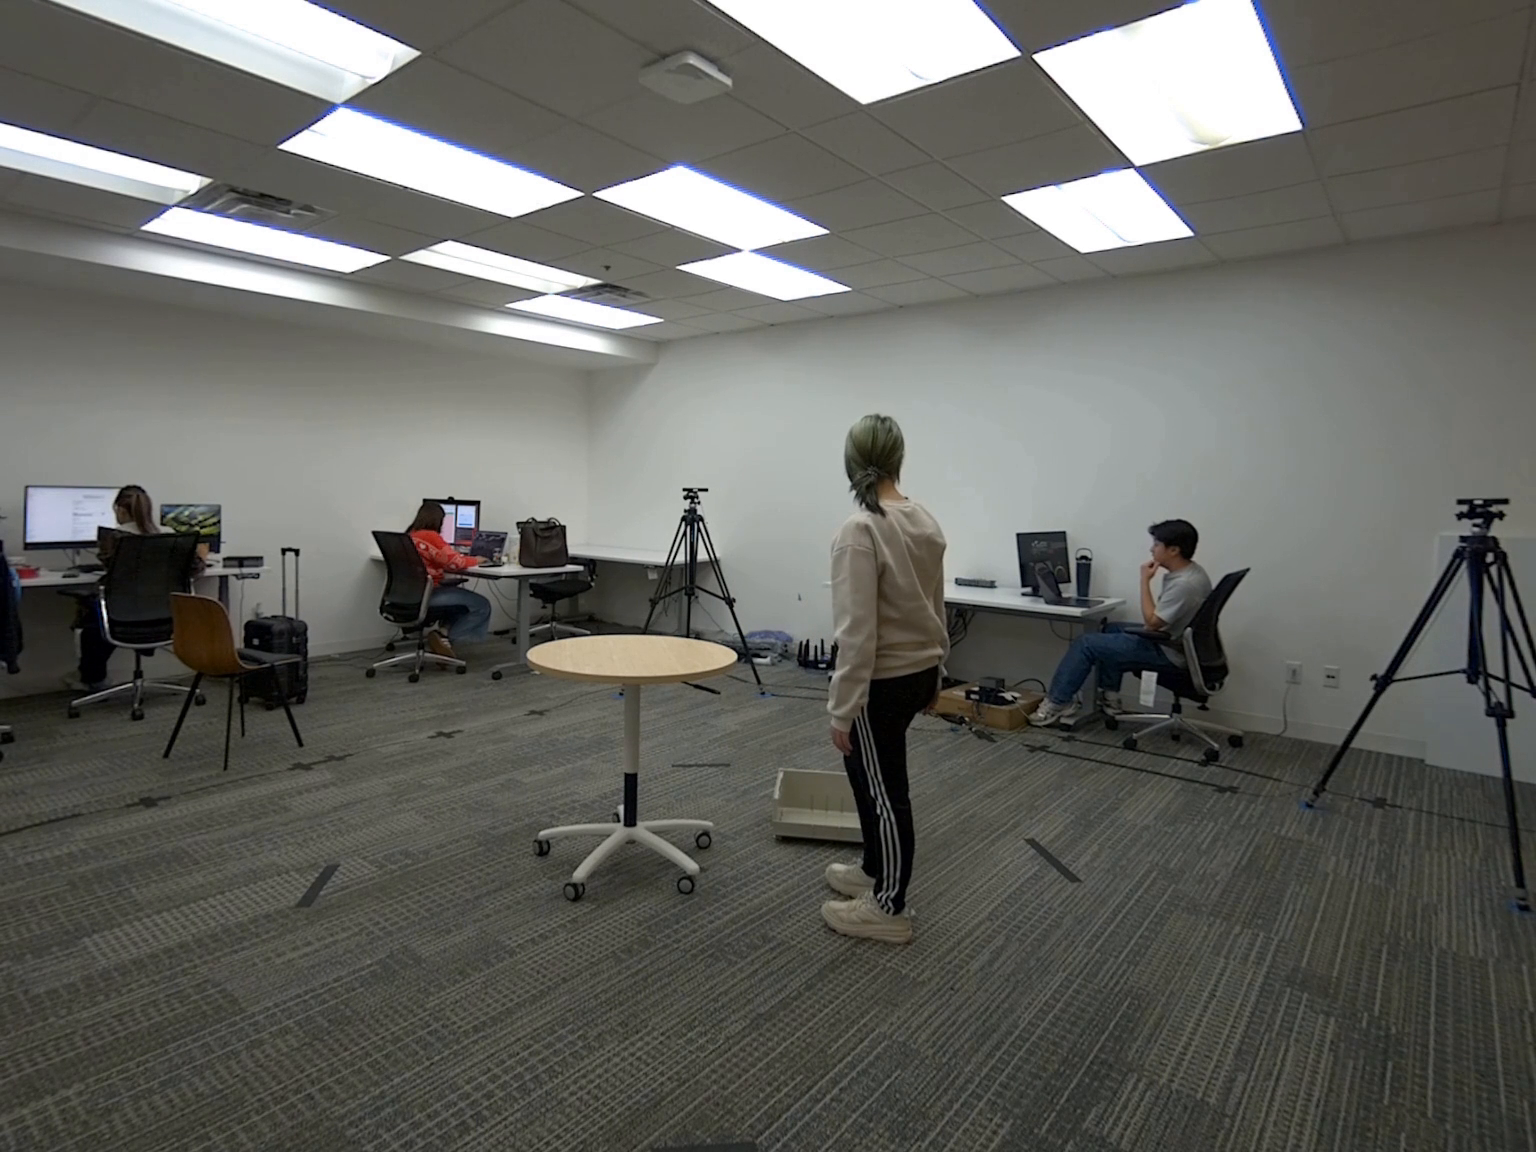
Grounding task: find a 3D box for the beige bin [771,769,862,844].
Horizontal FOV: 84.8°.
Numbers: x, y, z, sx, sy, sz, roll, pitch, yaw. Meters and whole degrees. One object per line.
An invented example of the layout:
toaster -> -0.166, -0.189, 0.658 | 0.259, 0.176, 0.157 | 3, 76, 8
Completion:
beige bin -> 0.234, 0.953, 3.504 | 0.426, 0.188, 0.376 | 1, 4, 6
